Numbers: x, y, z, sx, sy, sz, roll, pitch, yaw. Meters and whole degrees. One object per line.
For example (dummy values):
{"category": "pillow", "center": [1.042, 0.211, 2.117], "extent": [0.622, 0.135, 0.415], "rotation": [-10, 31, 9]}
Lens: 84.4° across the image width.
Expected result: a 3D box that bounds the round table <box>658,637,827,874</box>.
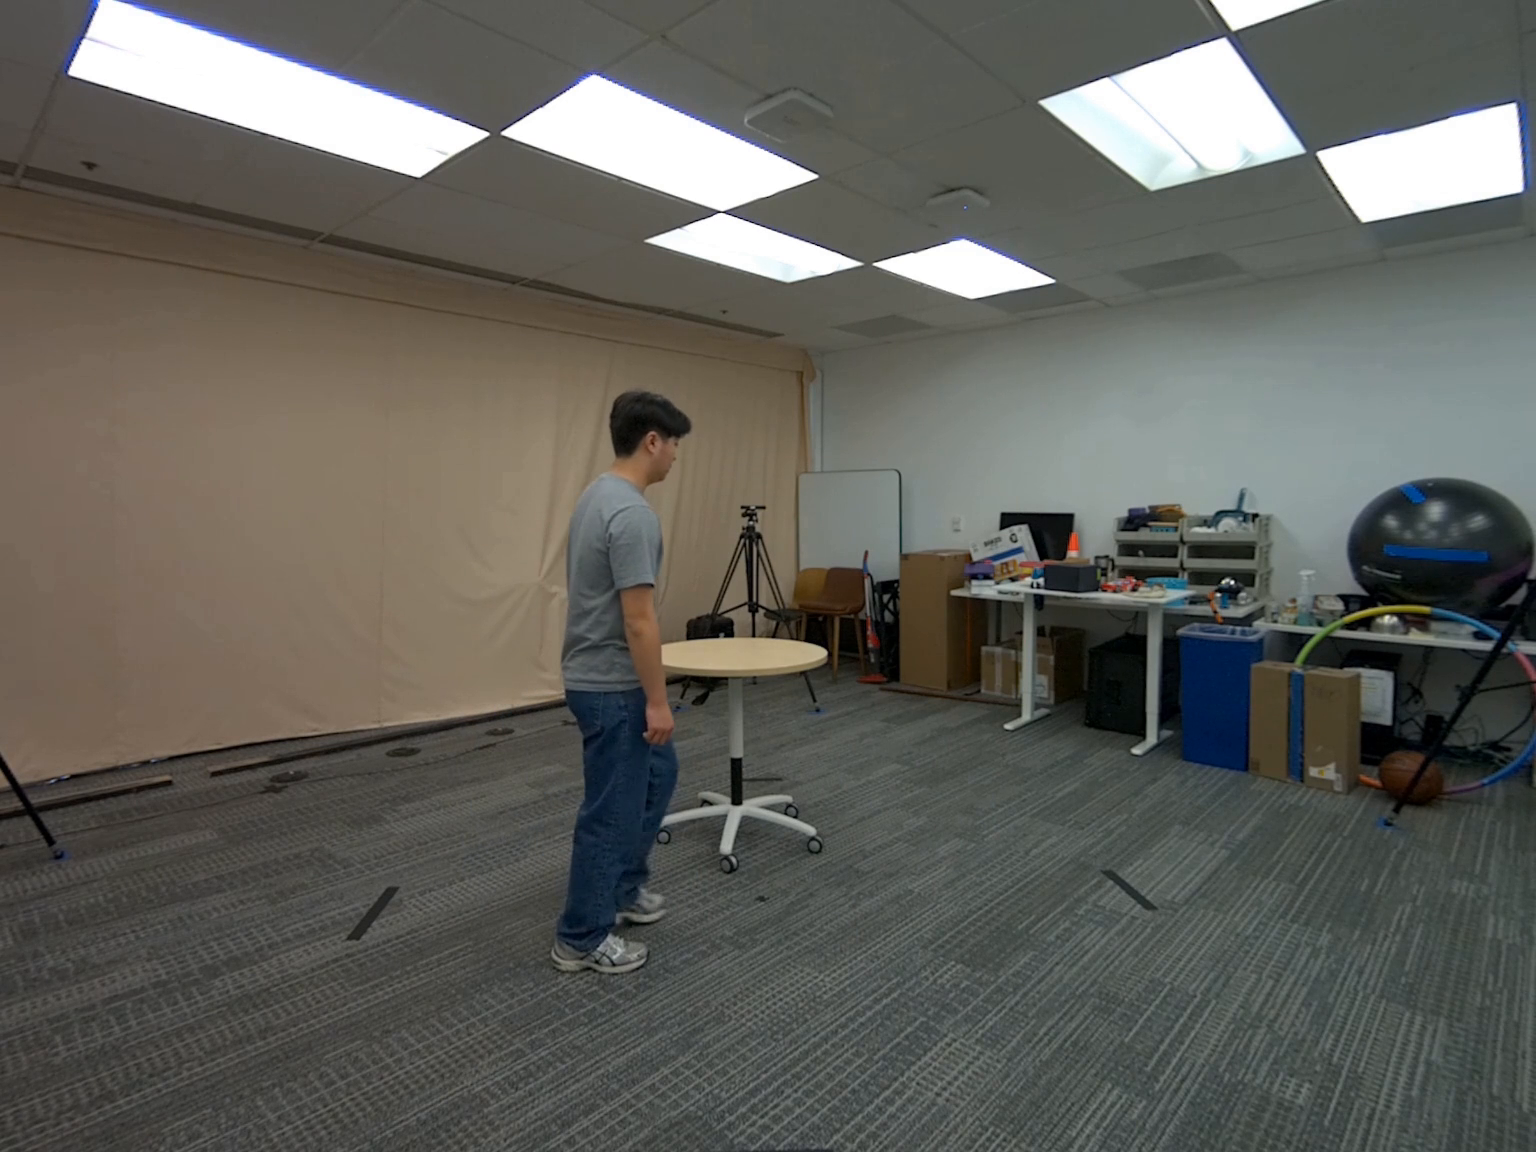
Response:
{"category": "round table", "center": [-0.128, 0.713, 3.522], "extent": [0.763, 0.792, 0.766], "rotation": [-1, 3, -2]}
